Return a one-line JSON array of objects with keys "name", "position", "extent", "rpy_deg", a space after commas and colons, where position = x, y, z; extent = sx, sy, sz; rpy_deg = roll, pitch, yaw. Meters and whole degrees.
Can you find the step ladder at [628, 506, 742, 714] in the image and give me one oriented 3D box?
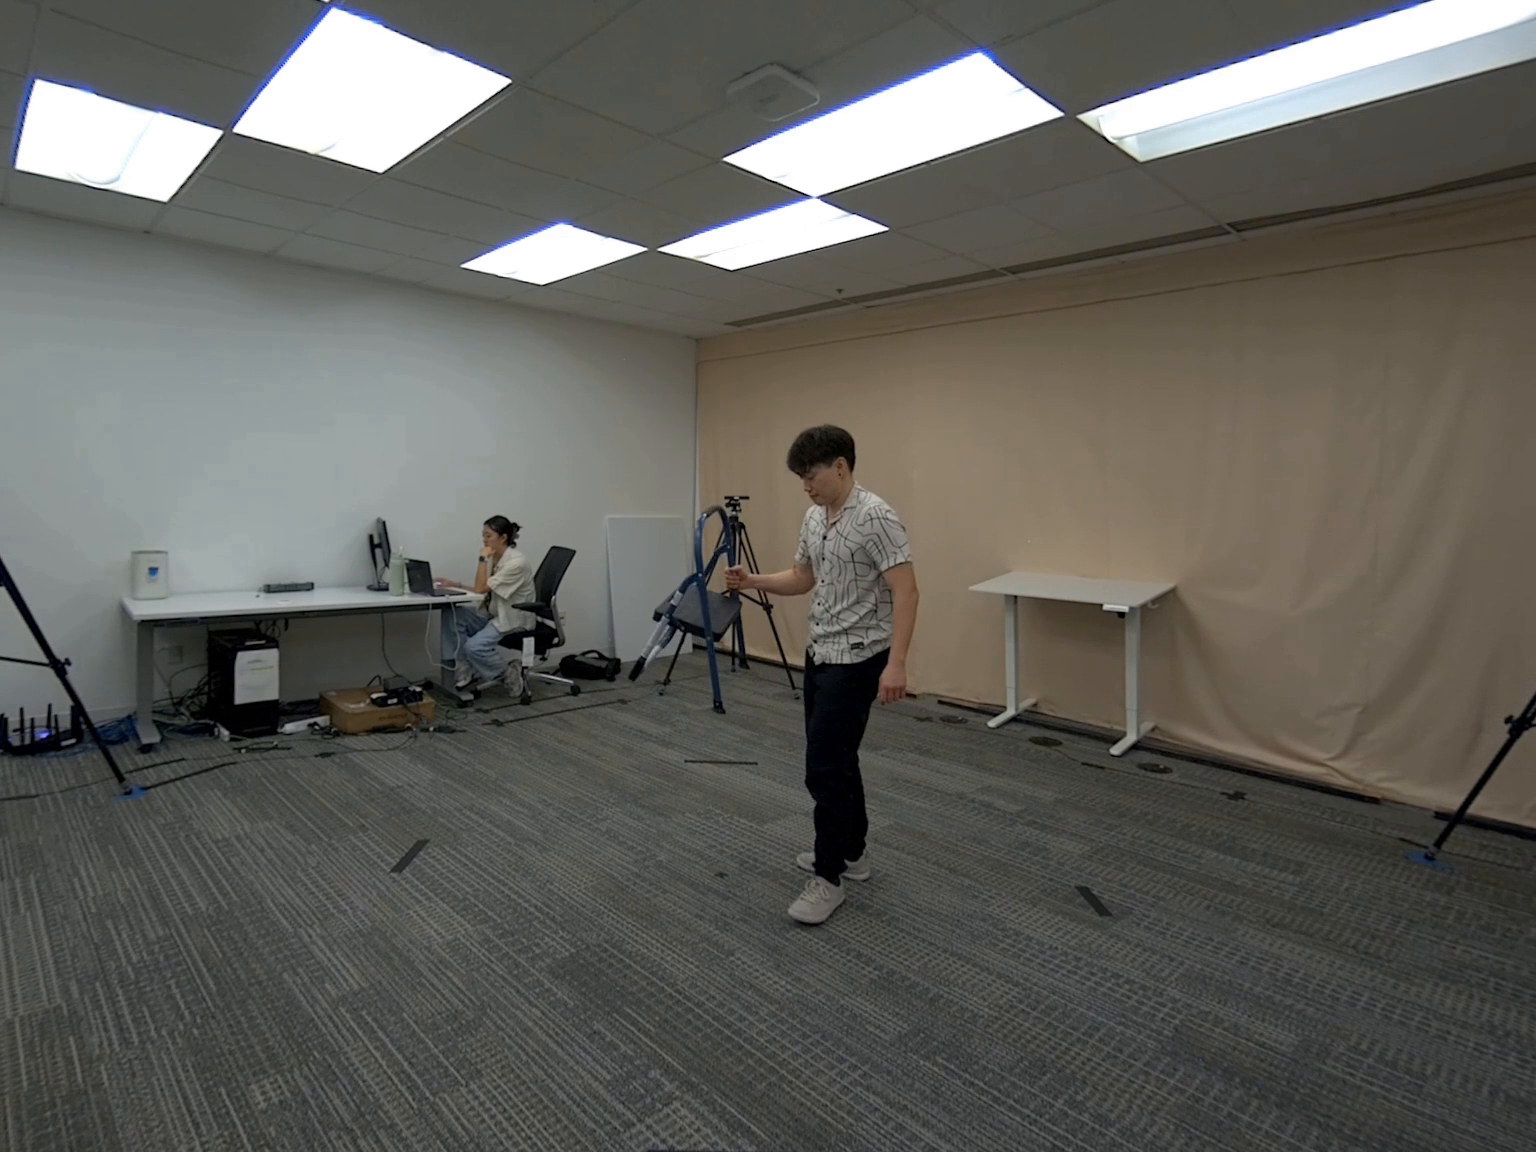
[{"name": "step ladder", "position": [-0.199, 0.081, 2.916], "extent": [0.352, 0.600, 0.431], "rpy_deg": [16, 18, 7]}]
